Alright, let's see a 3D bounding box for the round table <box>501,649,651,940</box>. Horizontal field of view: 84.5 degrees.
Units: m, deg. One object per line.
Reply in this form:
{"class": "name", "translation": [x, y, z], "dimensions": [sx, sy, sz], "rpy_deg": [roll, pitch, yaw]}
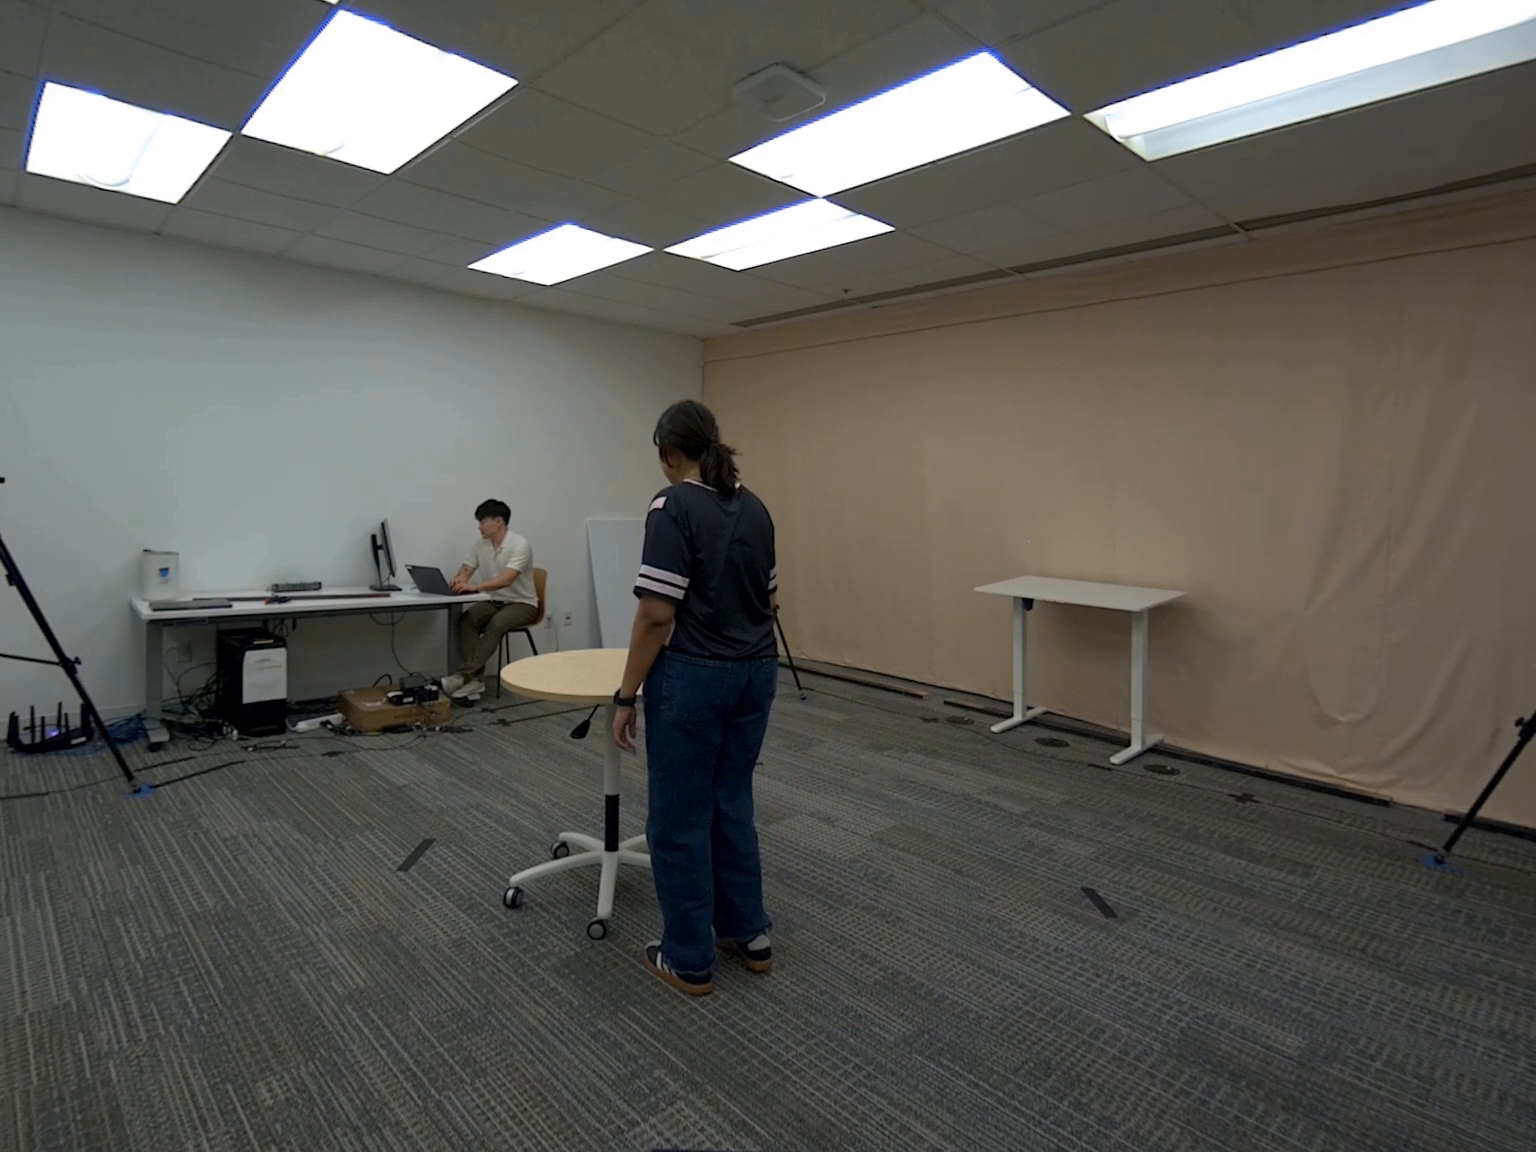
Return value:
{"class": "round table", "translation": [-0.555, 0.718, 2.946], "dimensions": [0.784, 0.784, 0.788], "rpy_deg": [1, 4, -1]}
